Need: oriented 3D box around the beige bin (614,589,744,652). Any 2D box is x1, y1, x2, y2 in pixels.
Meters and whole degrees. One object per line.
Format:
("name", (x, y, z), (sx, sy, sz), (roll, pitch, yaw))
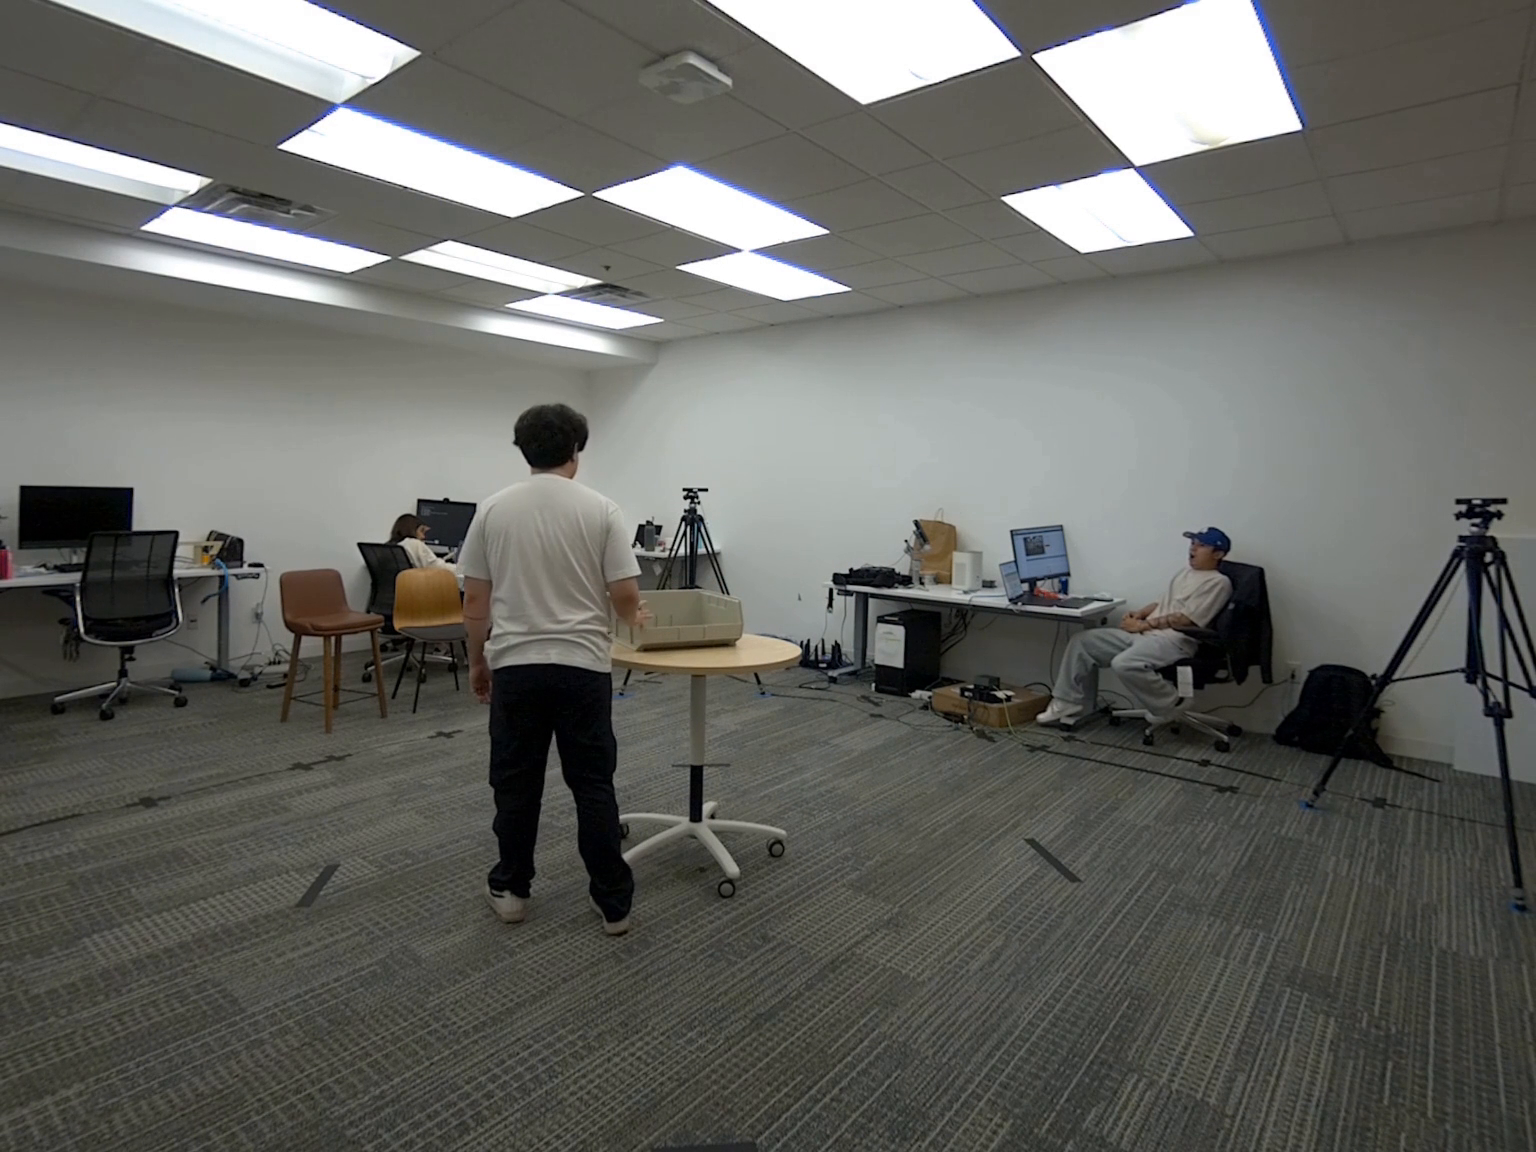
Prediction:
("beige bin", (-0.372, 0.166, 3.274), (0.412, 0.188, 0.388), (-2, 5, -26))
